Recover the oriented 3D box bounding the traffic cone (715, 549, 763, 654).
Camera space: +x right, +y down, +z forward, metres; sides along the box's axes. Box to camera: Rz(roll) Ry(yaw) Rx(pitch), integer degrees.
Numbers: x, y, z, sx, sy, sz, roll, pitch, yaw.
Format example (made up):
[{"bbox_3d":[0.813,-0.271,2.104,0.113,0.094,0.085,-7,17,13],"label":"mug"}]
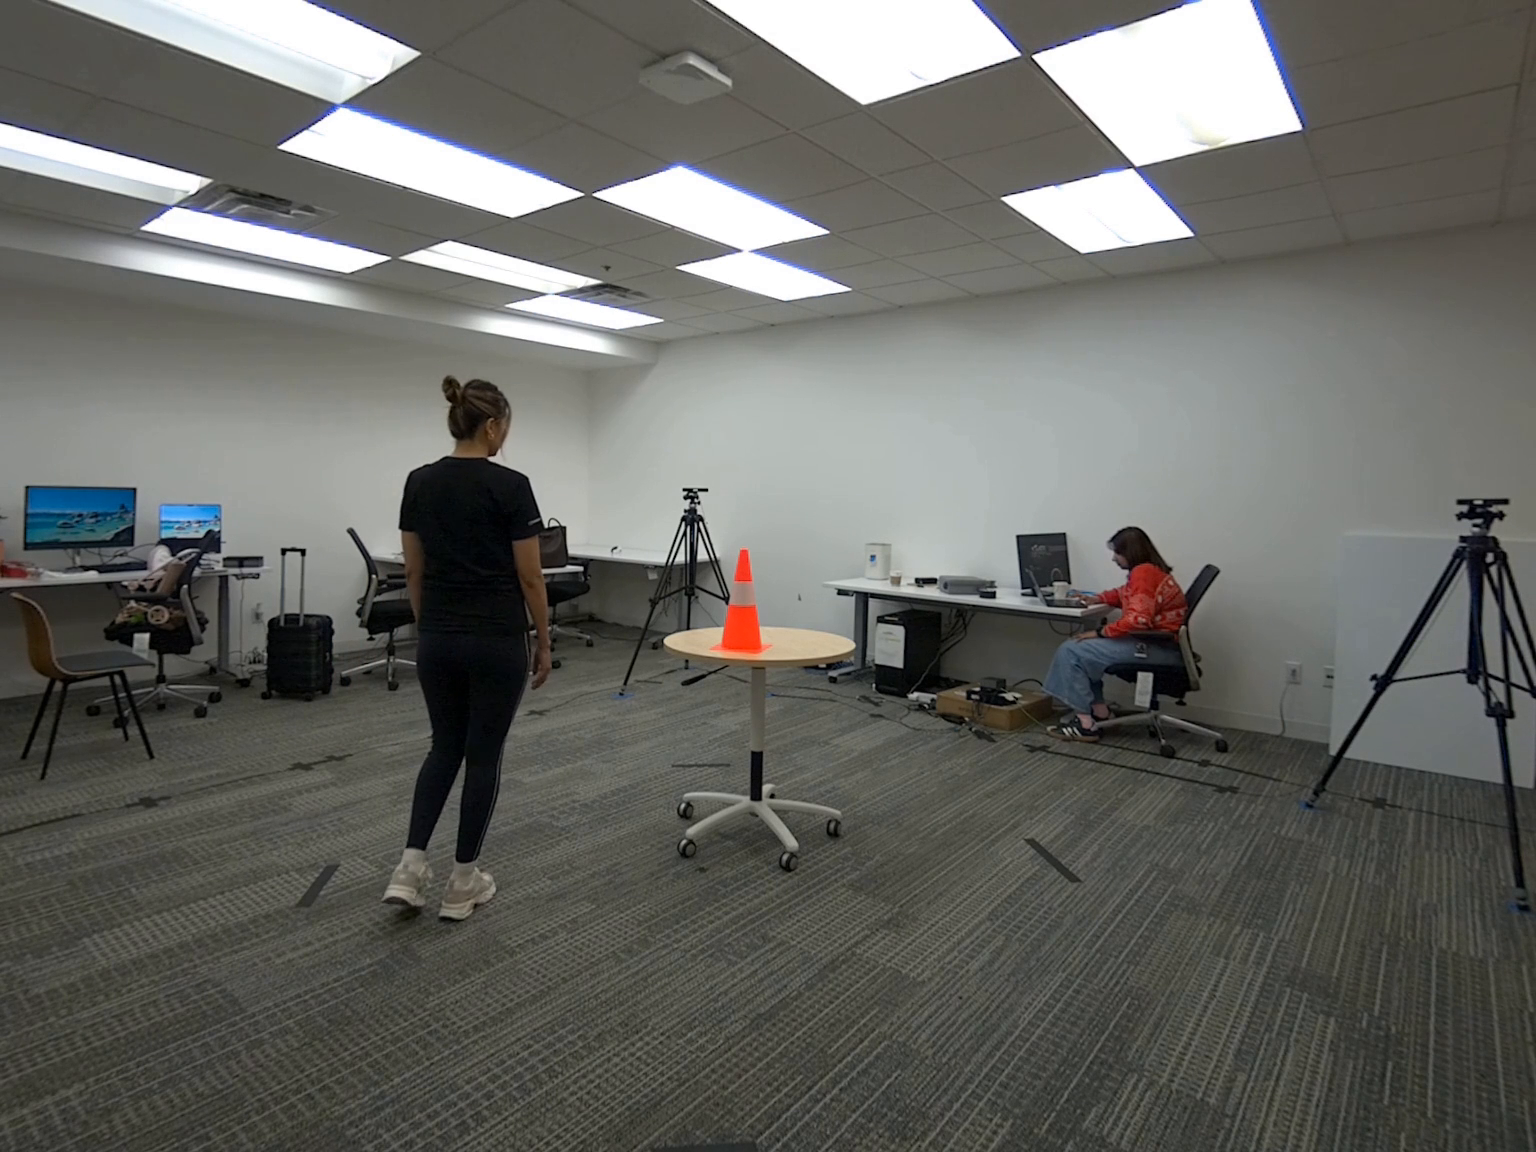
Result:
[{"bbox_3d":[-0.105,0.087,3.270,0.208,0.382,0.201,5,4,20],"label":"traffic cone"}]
